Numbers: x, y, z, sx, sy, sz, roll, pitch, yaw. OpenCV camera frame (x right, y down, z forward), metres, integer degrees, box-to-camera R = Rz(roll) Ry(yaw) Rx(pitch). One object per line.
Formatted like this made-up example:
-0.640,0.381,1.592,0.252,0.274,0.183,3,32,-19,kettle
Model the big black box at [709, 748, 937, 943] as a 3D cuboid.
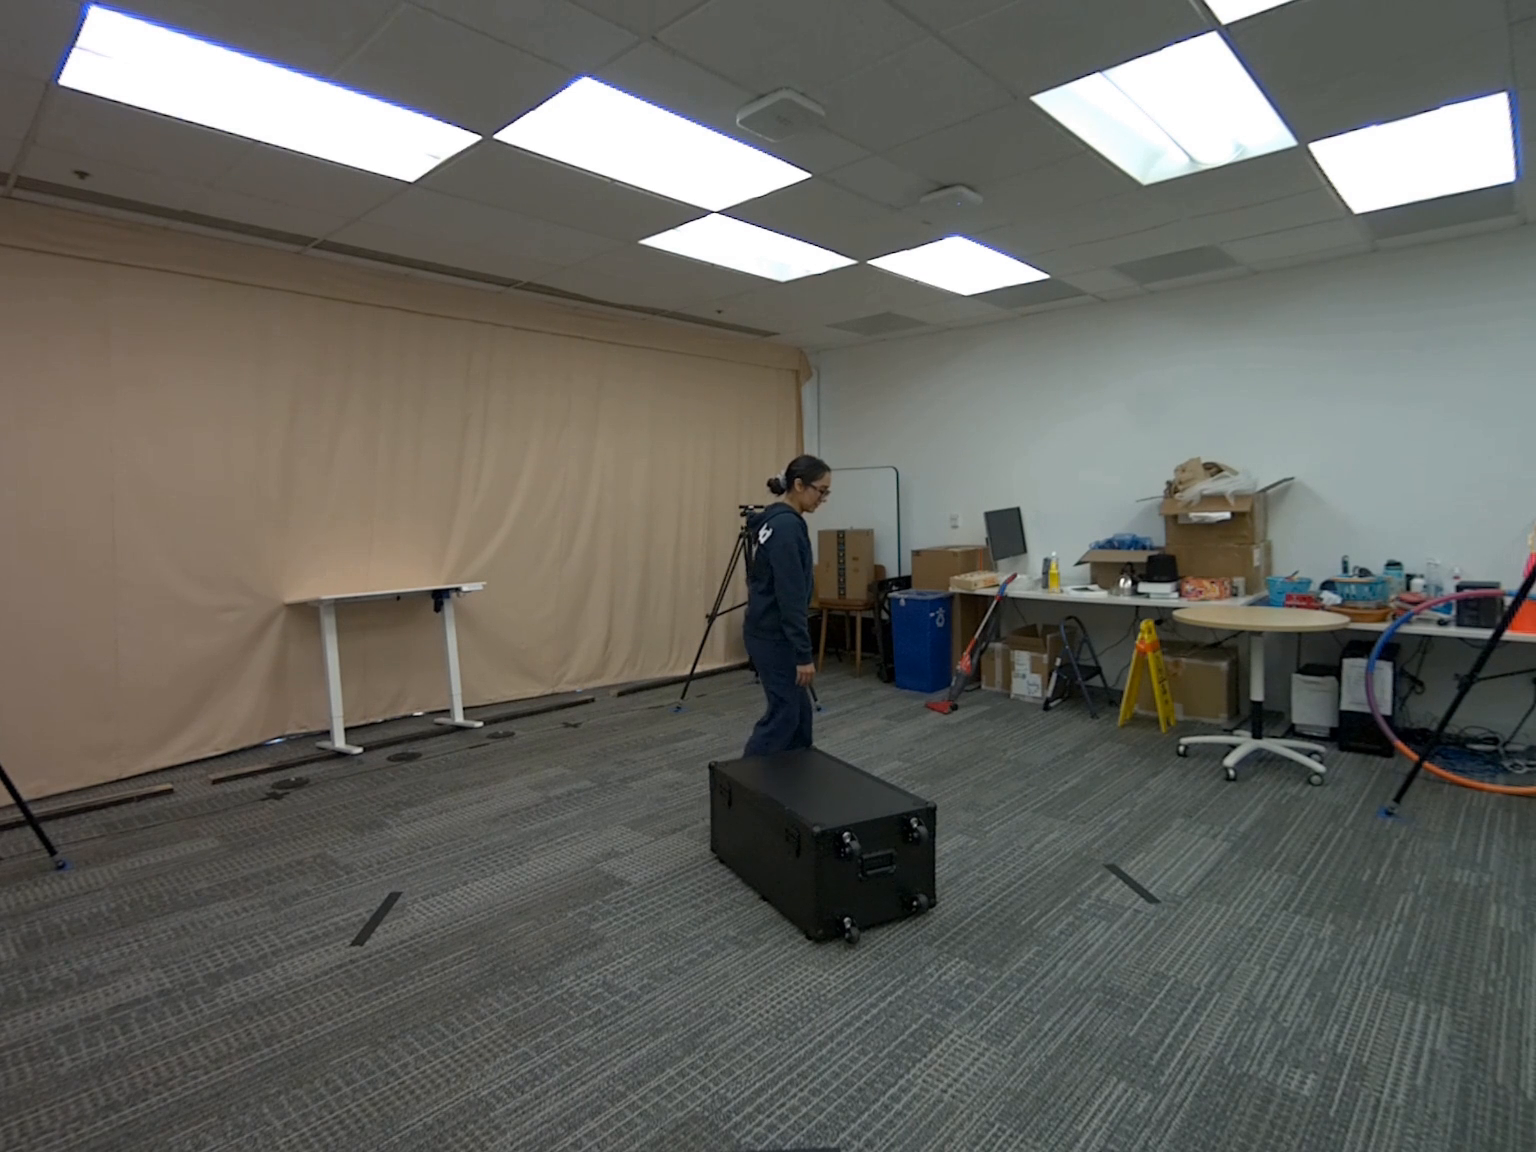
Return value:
0.194,0.953,3.055,0.386,0.520,0.886,-3,4,-31,big black box
